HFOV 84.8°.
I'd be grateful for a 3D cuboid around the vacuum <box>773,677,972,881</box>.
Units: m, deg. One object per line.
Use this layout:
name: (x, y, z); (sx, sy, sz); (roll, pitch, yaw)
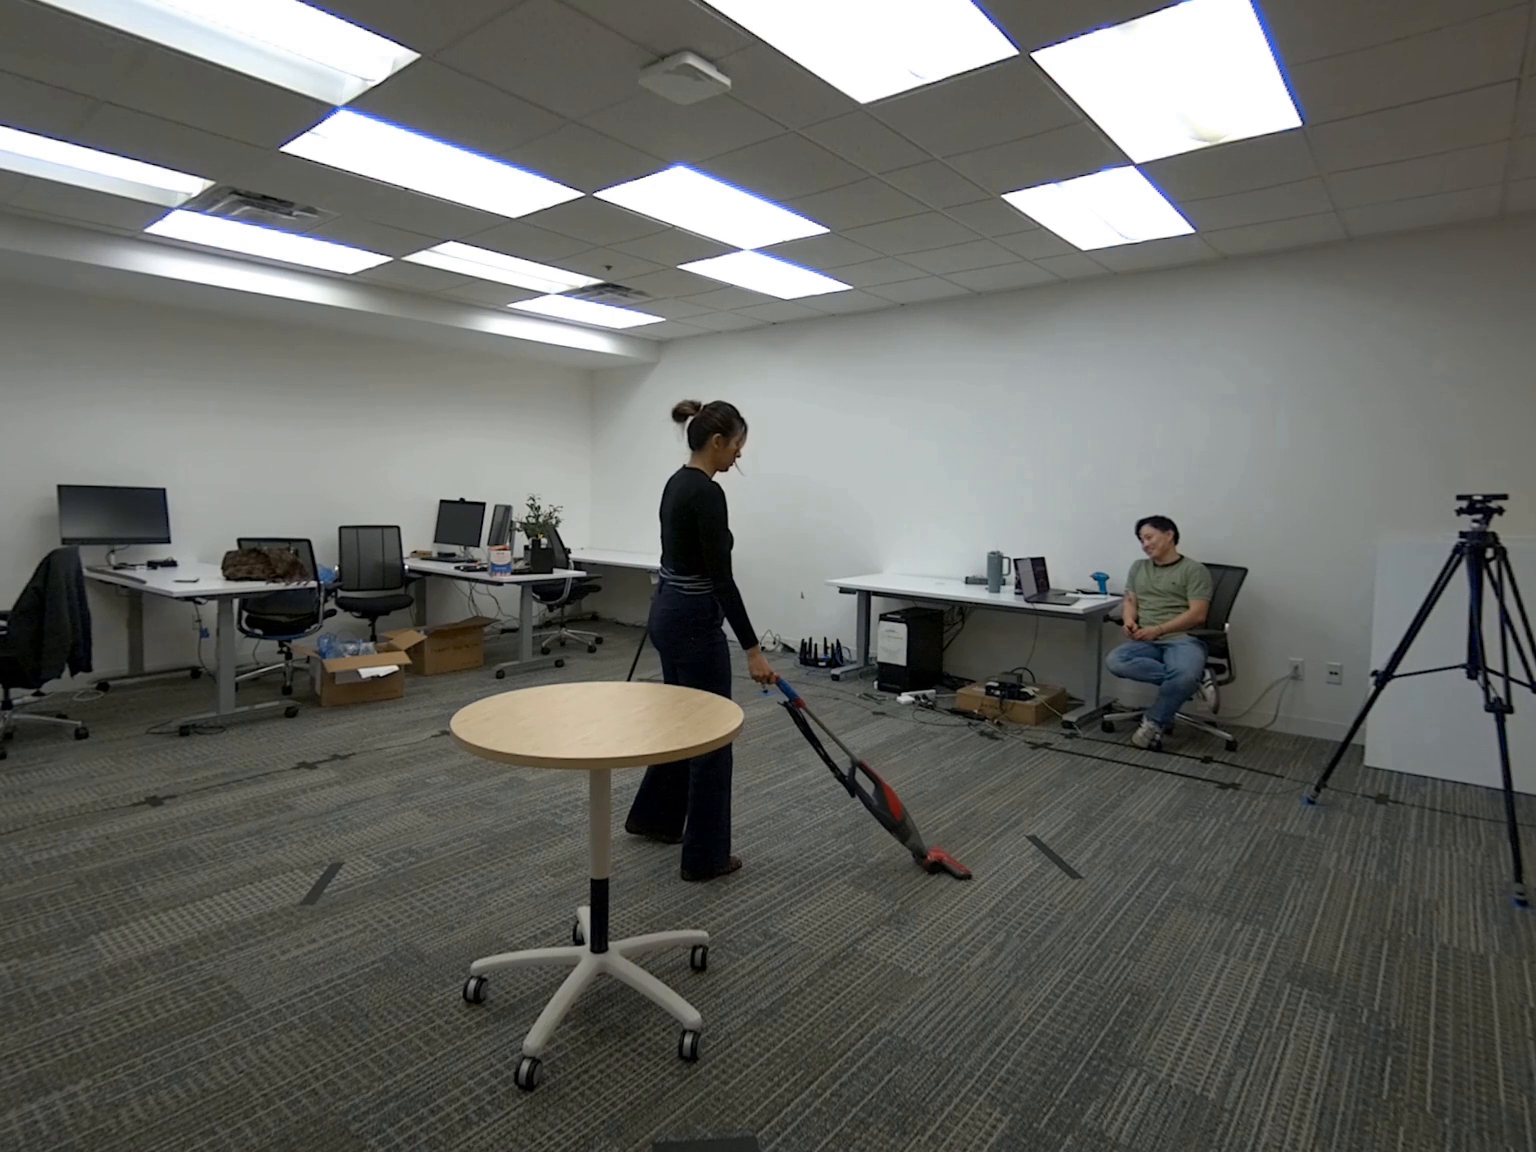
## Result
vacuum: (0.286, 0.696, 3.049); (0.144, 1.030, 0.257); (-45, 13, -9)
